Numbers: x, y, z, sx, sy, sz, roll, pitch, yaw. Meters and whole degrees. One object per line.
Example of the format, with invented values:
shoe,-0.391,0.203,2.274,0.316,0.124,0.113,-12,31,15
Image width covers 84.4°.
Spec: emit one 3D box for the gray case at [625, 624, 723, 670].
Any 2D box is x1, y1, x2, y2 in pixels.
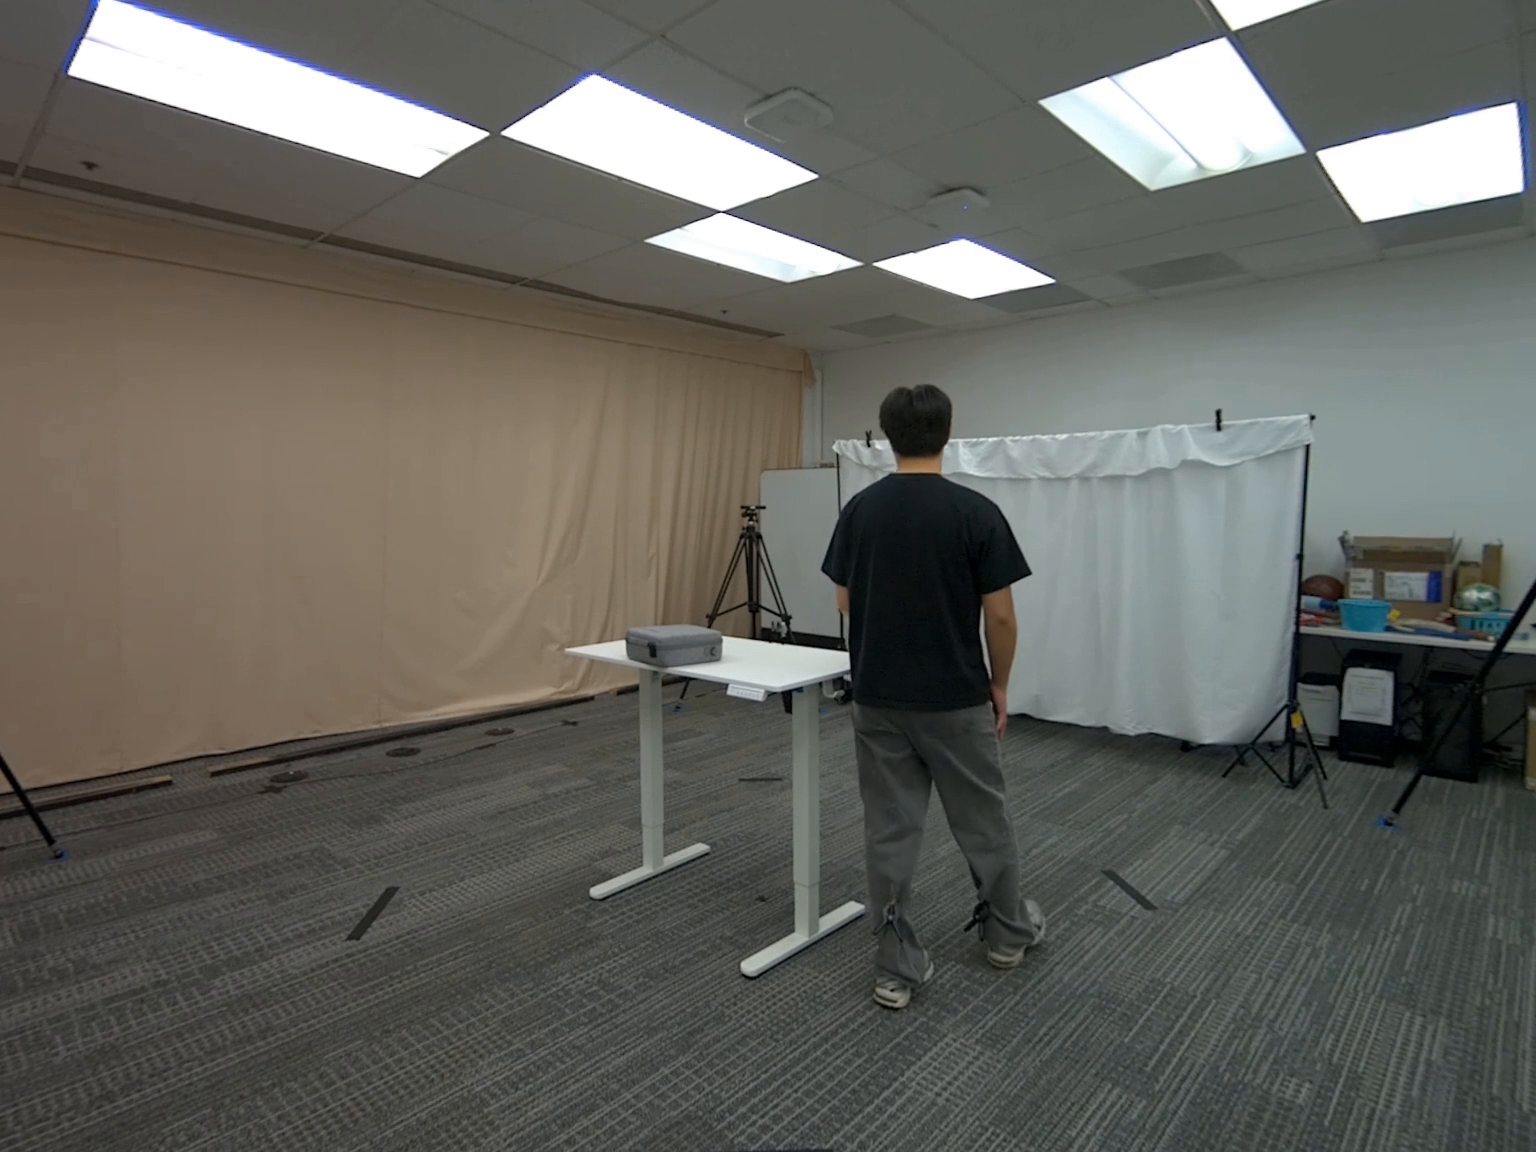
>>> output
gray case,-0.310,0.226,2.797,0.253,0.104,0.265,-2,4,-34
